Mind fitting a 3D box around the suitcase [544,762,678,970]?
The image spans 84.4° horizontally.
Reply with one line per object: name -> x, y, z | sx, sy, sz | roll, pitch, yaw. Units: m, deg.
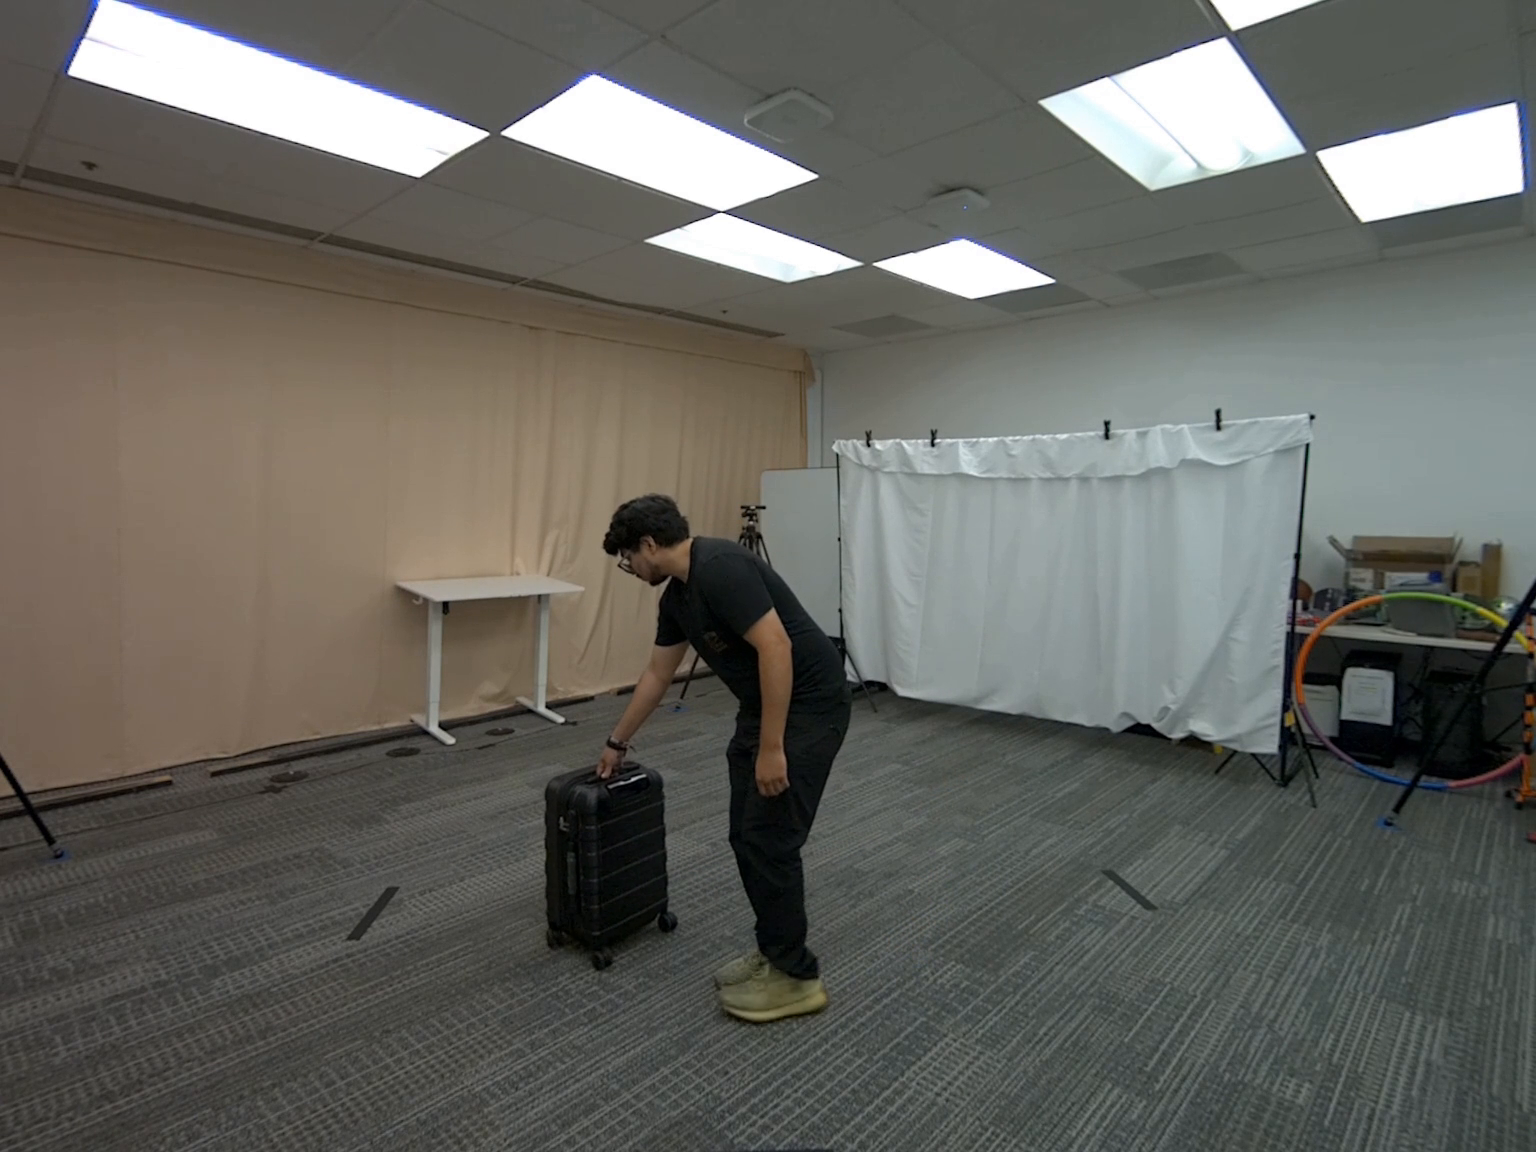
suitcase -> -0.517, 0.899, 2.726 | 0.256, 0.549, 0.364 | -1, 1, 37
